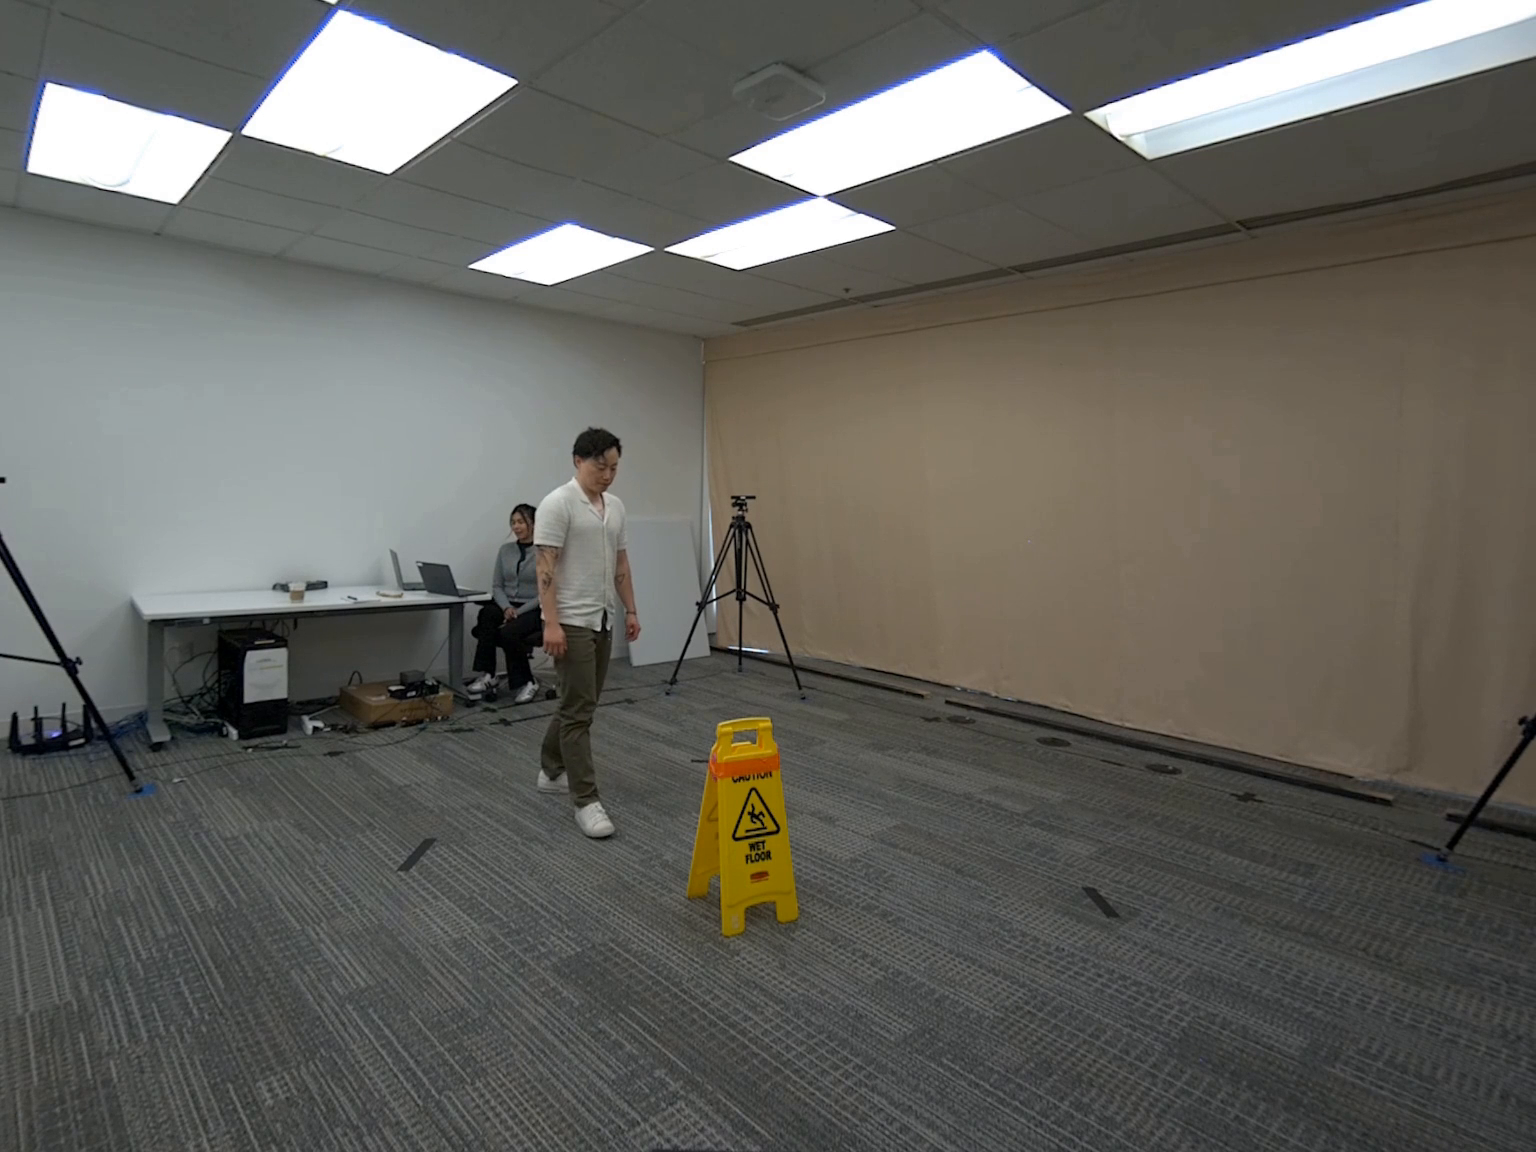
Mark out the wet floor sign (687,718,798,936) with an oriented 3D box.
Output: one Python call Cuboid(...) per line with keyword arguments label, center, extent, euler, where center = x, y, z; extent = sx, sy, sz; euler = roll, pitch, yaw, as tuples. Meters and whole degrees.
Cuboid(label="wet floor sign", center=(-0.092, 0.804, 2.834), extent=(0.277, 0.645, 0.296), euler=(0, 3, -29))
